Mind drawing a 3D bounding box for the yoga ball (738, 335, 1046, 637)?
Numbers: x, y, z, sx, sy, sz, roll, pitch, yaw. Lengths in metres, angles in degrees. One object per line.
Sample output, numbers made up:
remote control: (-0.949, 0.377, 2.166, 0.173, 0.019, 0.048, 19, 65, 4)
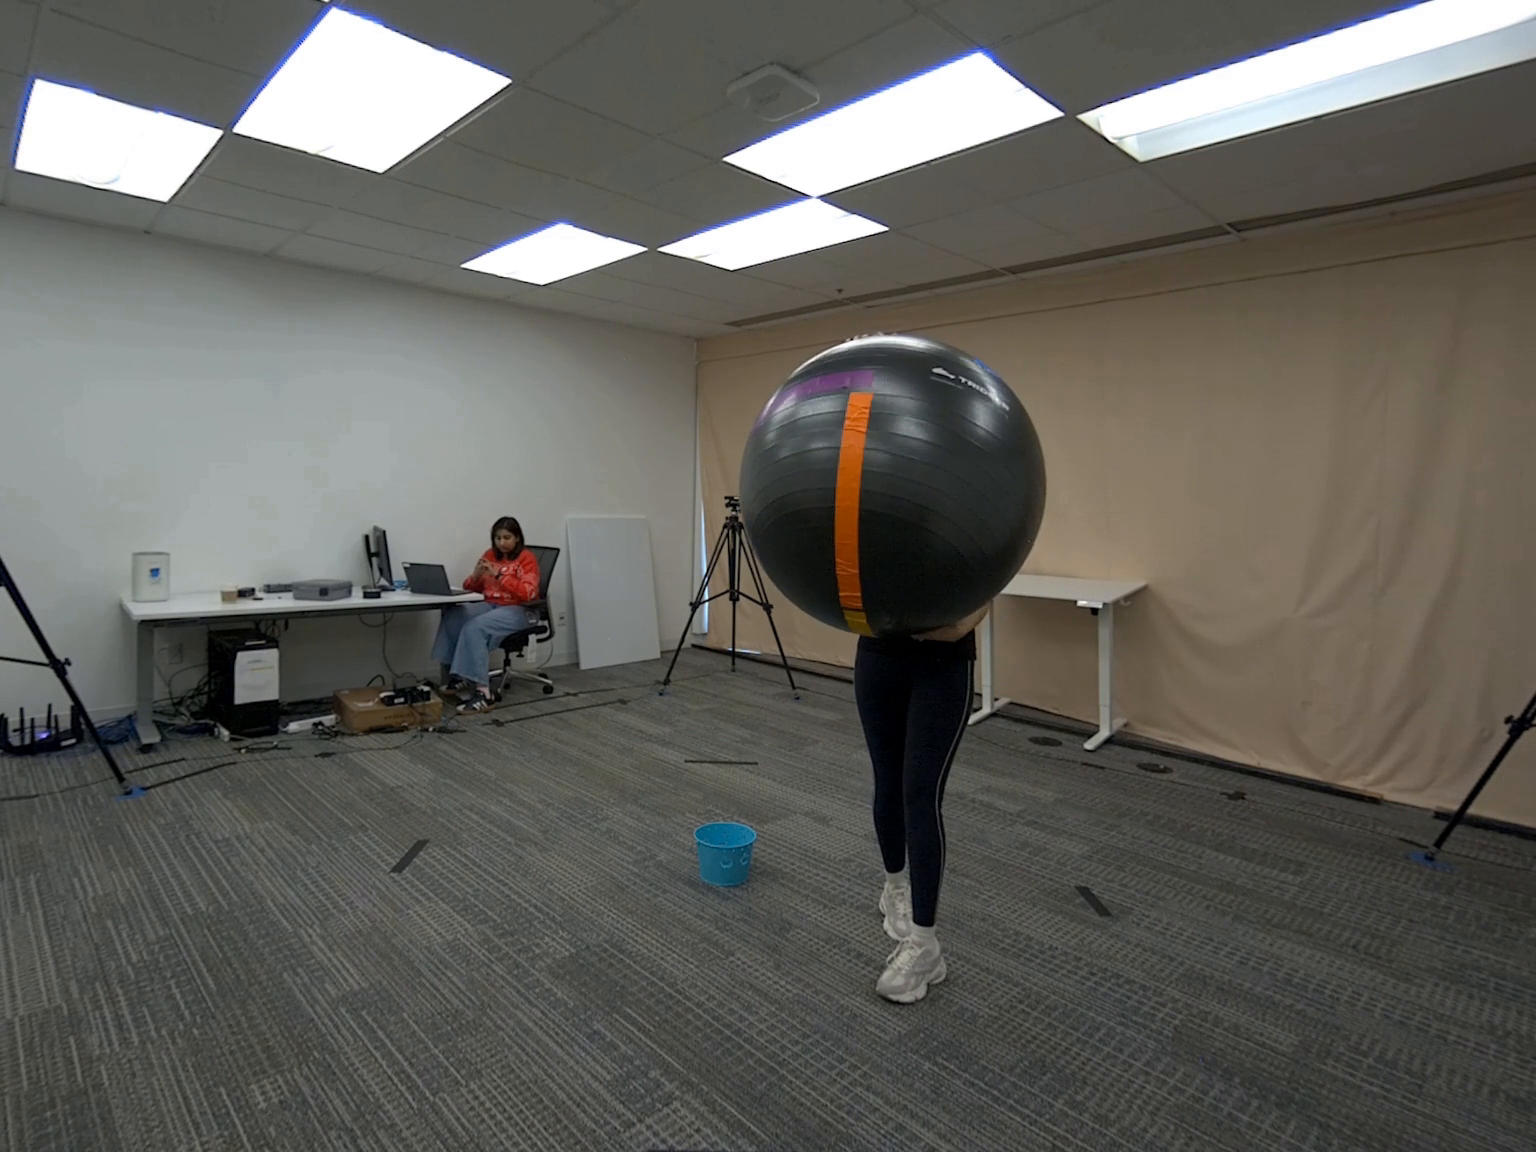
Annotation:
yoga ball: (0.308, -0.215, 2.124, 0.757, 0.756, 0.761, 1, 4, -1)
